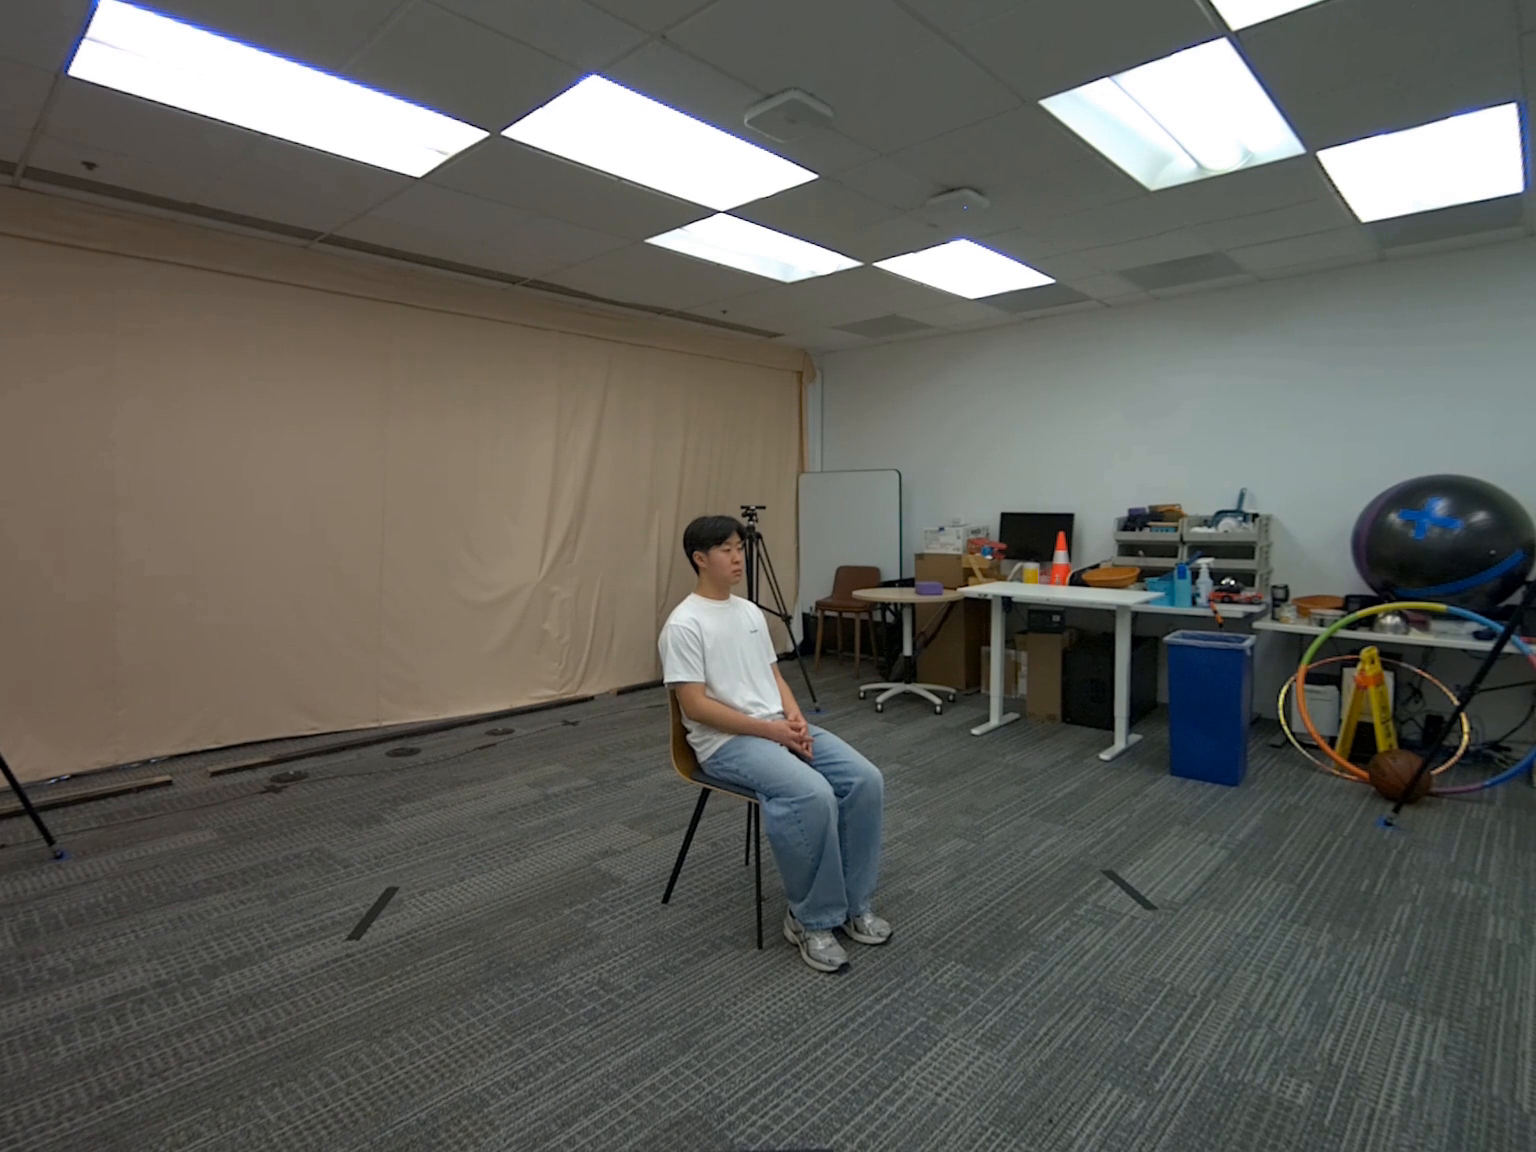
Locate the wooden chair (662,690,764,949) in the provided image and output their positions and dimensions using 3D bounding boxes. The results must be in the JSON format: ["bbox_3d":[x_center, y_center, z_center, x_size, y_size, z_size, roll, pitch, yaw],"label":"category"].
[{"bbox_3d":[-0.053,0.721,2.930,0.539,0.877,0.464,-4,1,42],"label":"wooden chair"}]
